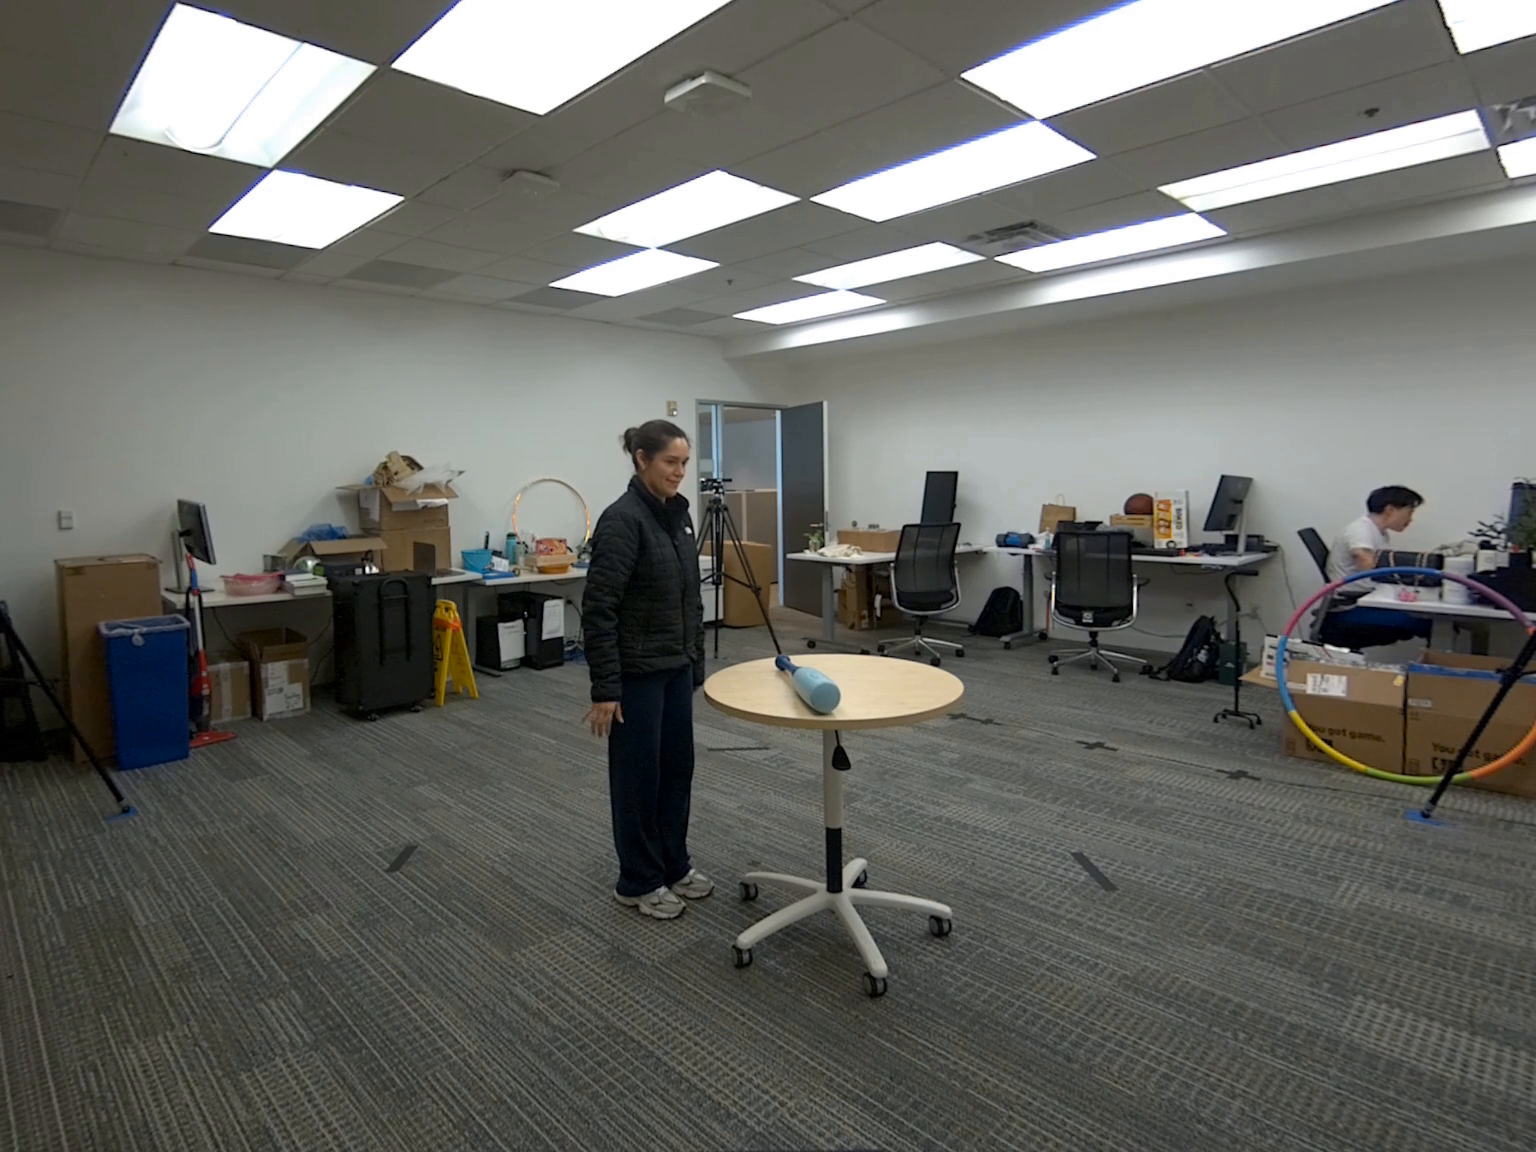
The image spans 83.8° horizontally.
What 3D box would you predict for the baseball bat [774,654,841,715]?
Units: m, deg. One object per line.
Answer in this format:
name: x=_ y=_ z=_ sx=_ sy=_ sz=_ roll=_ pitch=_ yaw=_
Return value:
baseball bat: x=0.111 y=0.301 z=2.466 sx=0.088 sy=0.089 sz=0.549 roll=-2 pitch=3 yaw=-11
